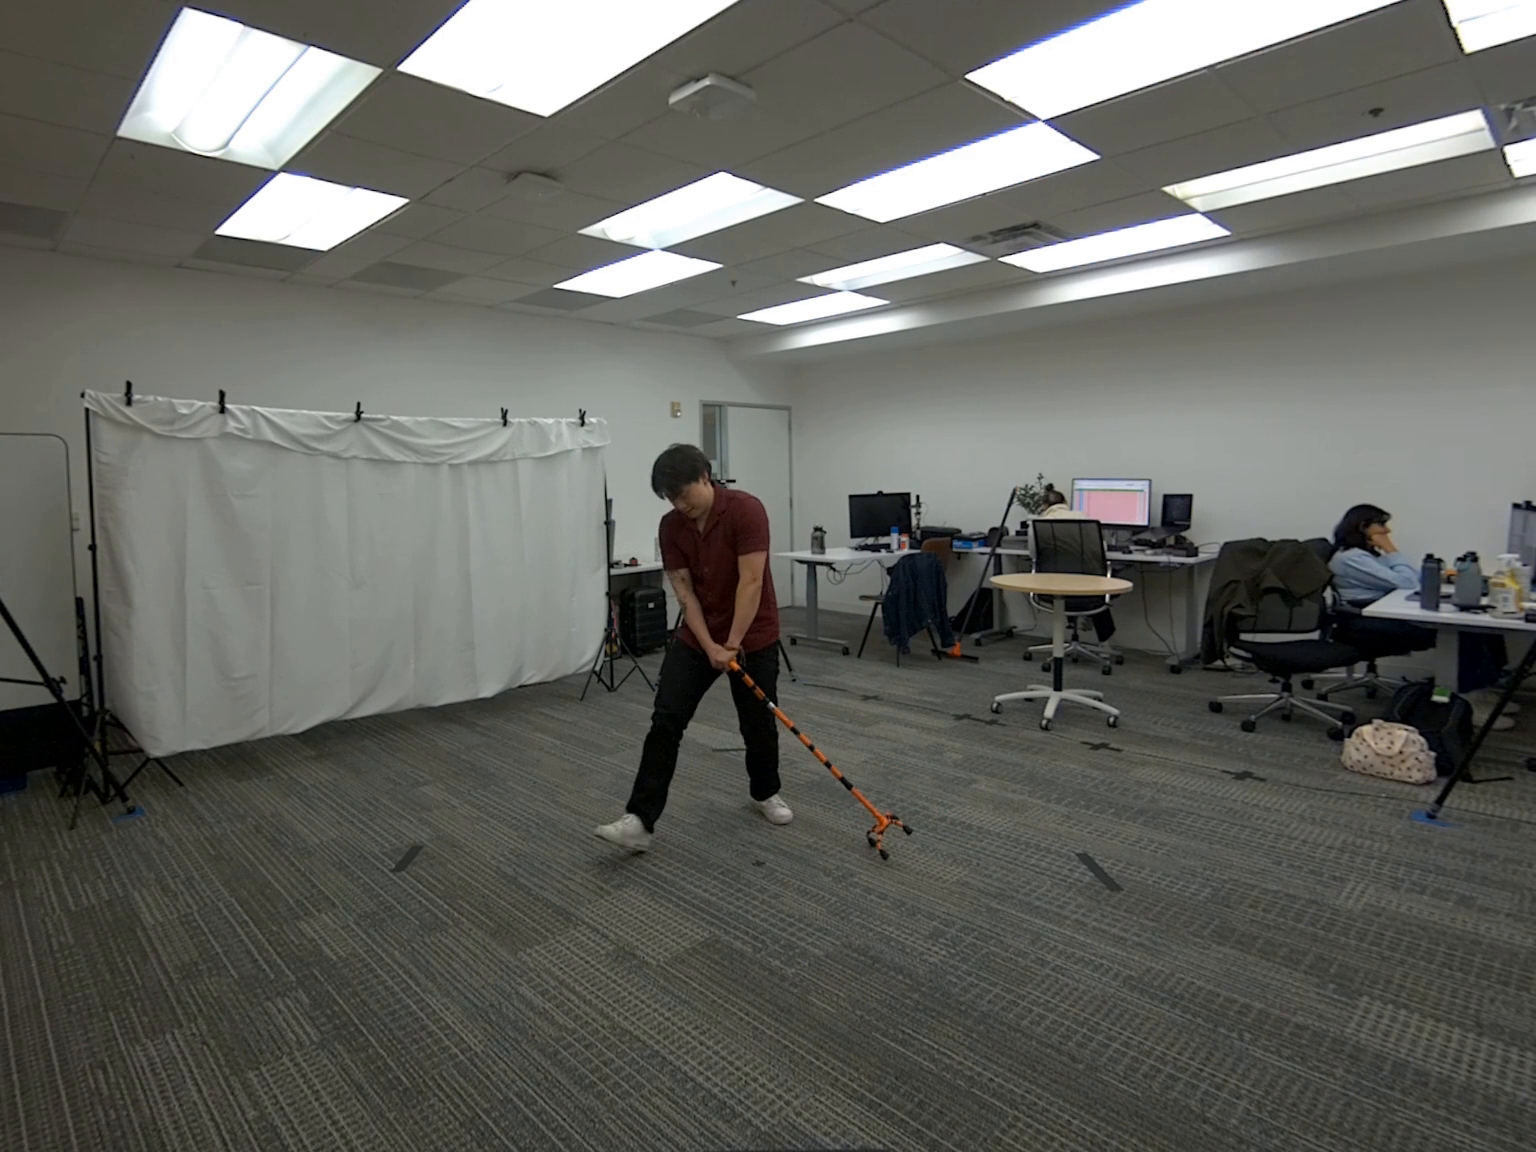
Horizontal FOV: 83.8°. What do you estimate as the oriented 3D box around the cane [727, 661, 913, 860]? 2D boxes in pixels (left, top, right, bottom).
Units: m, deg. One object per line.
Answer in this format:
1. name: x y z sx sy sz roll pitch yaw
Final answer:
1. cane: 0.149 0.648 3.172 0.151 0.909 0.206 -44 -1 -6
